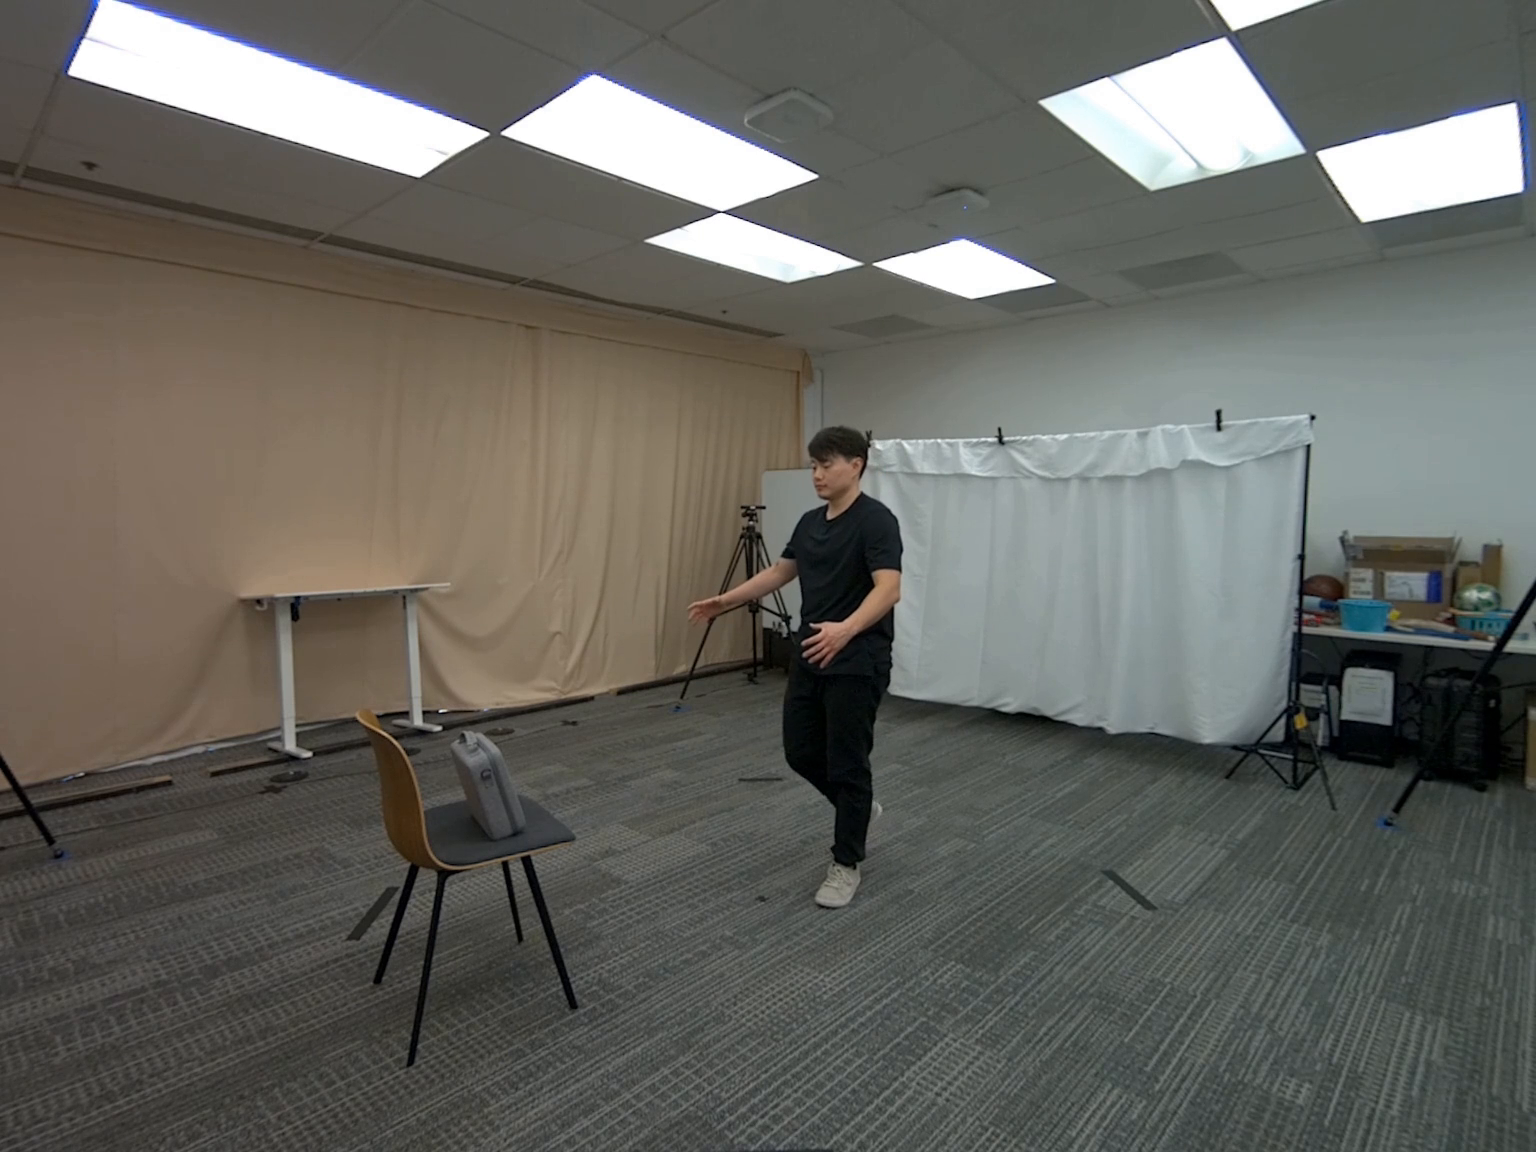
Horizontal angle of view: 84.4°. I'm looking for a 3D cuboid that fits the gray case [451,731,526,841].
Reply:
[{"bbox_3d":[-0.804,0.591,2.389,0.102,0.258,0.264,-19,12,-23],"label":"gray case"}]
